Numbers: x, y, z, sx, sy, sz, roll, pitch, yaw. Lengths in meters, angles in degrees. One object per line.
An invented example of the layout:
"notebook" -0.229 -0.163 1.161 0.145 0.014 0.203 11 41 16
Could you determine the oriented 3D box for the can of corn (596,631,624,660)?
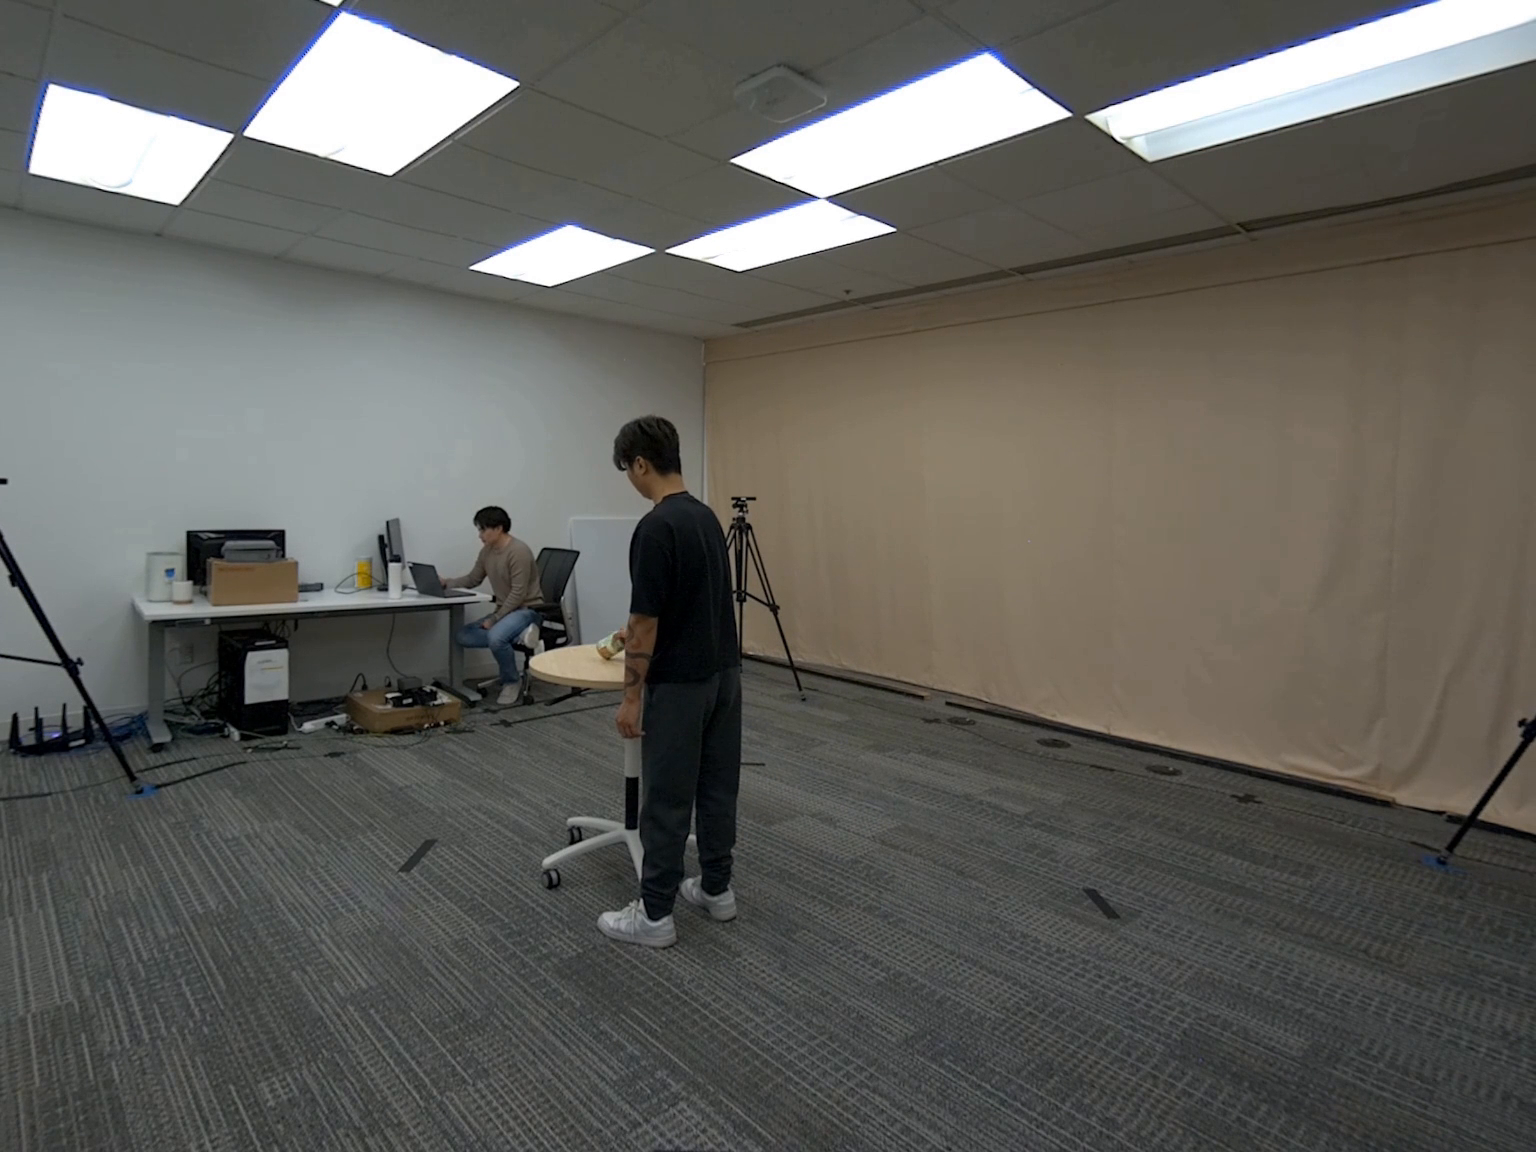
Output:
"can of corn" -0.578 0.254 3.133 0.112 0.075 0.073 -30 -10 24
